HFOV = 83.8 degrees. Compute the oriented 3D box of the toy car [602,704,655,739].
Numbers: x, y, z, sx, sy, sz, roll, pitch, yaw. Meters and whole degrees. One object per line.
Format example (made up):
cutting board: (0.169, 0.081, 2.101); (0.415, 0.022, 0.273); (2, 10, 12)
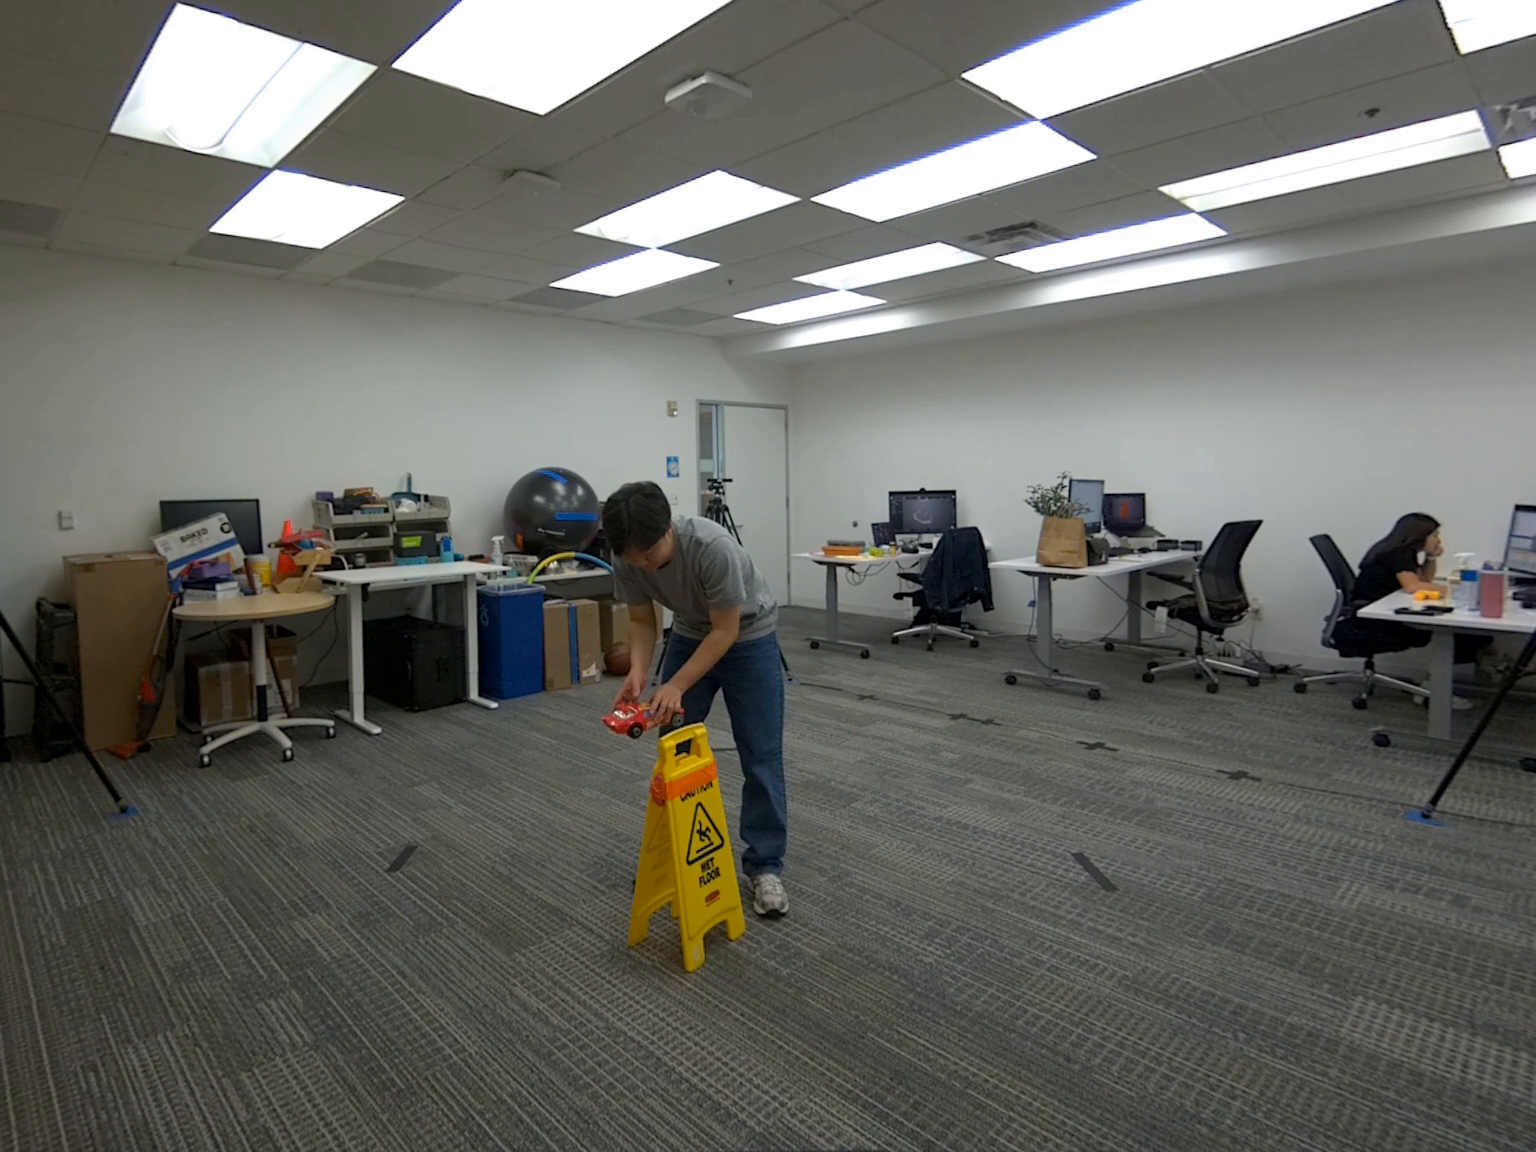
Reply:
toy car: (-0.386, 0.441, 2.600); (0.247, 0.083, 0.134); (5, 6, -36)
